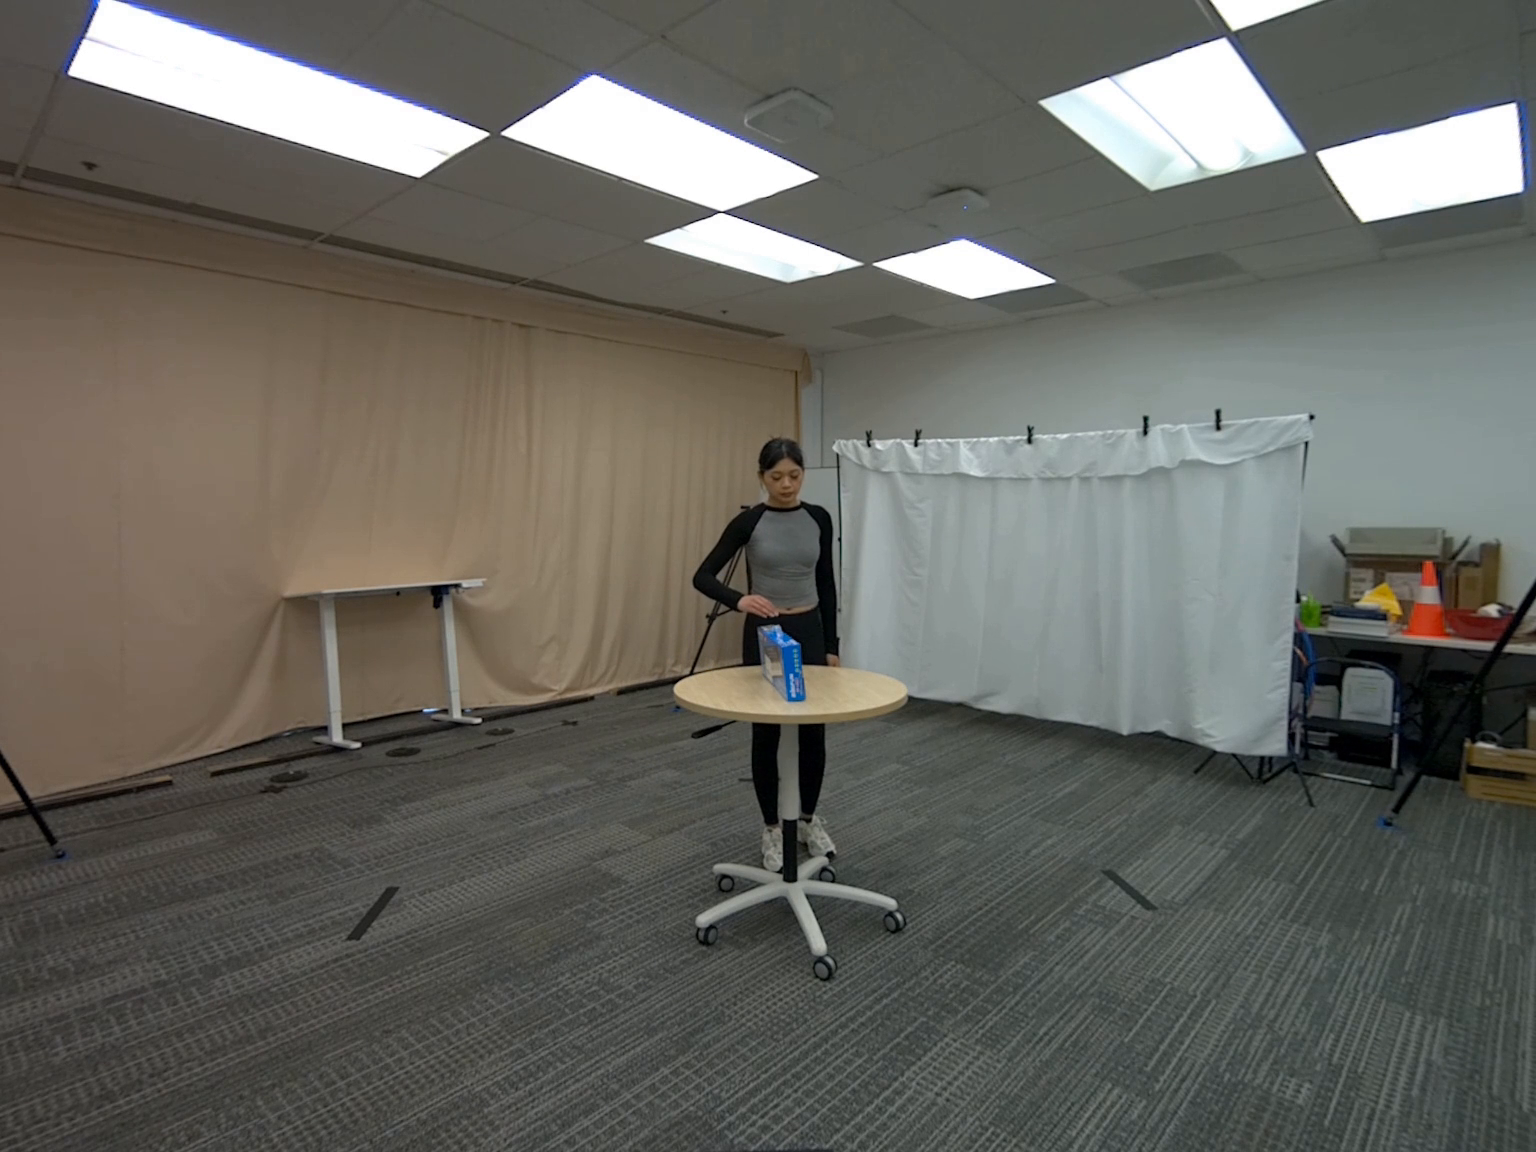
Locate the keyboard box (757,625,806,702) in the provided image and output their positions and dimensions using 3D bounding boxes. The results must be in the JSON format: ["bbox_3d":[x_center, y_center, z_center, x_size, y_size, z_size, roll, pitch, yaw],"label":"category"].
[{"bbox_3d":[0.042,0.281,2.779,0.058,0.175,0.441,-4,5,-9],"label":"keyboard box"}]
